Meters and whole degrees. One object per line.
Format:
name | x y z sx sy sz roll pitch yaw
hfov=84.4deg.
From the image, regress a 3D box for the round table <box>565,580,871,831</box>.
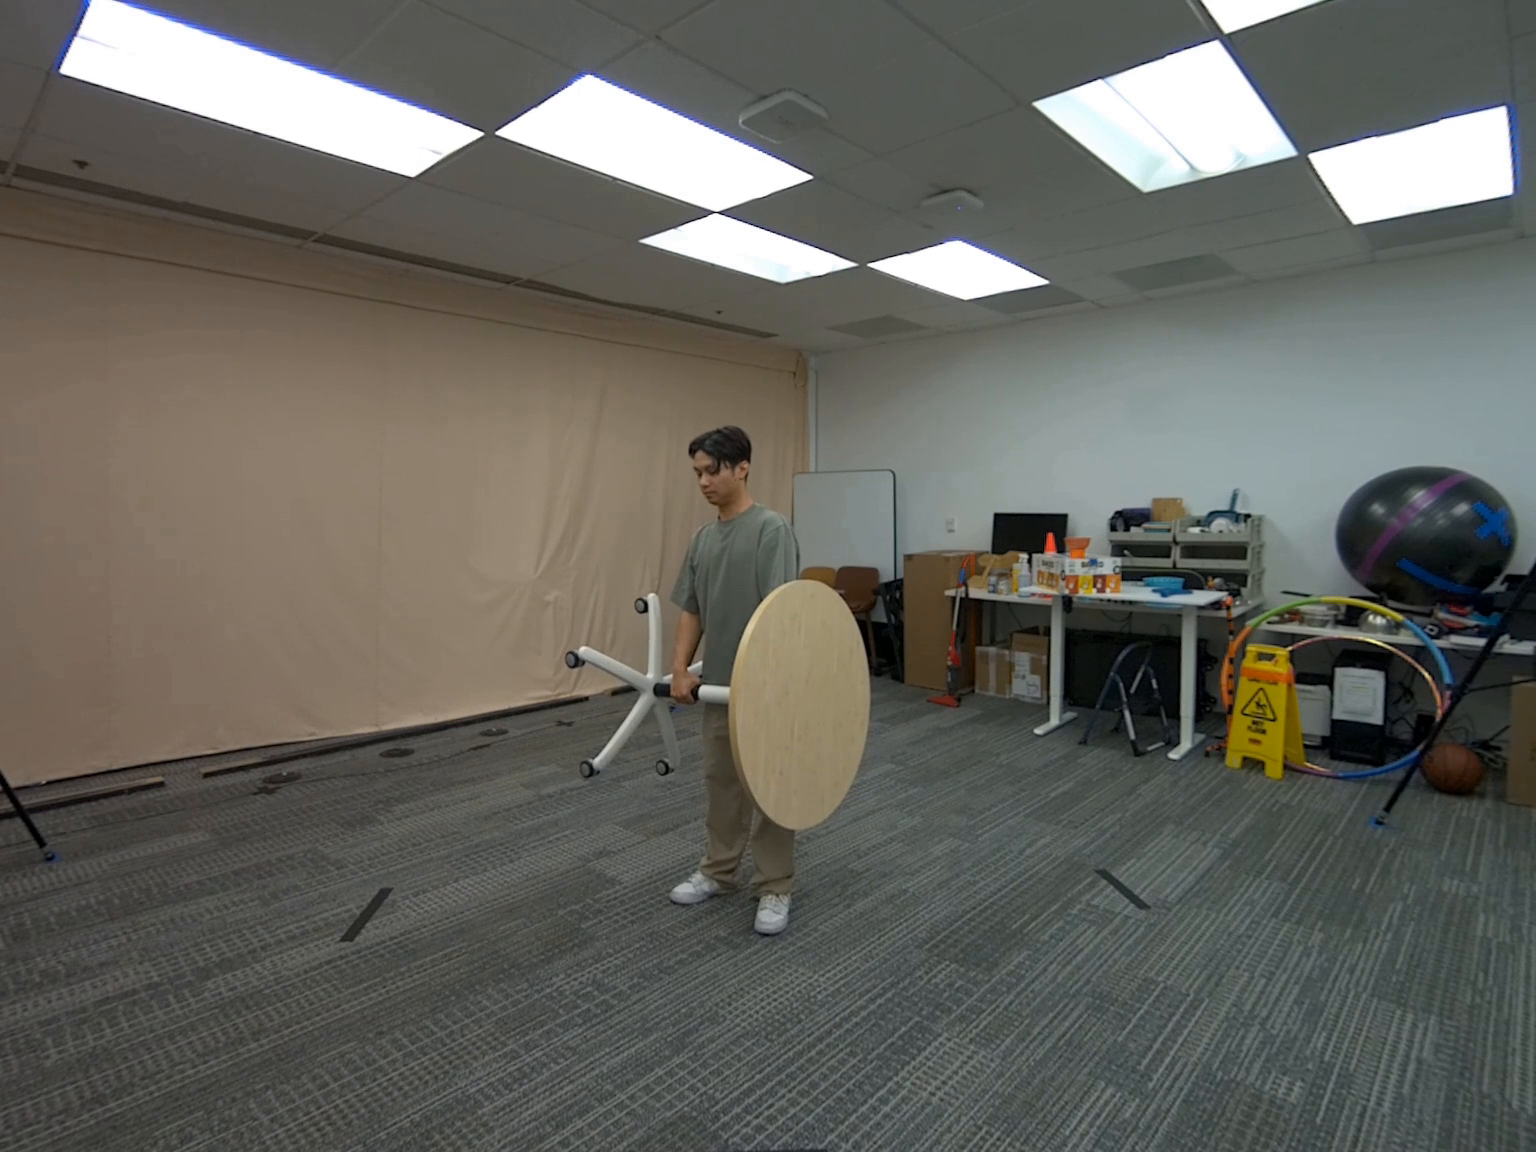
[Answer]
round table | -0.192 0.412 2.880 0.810 0.785 0.762 -3 1 37
